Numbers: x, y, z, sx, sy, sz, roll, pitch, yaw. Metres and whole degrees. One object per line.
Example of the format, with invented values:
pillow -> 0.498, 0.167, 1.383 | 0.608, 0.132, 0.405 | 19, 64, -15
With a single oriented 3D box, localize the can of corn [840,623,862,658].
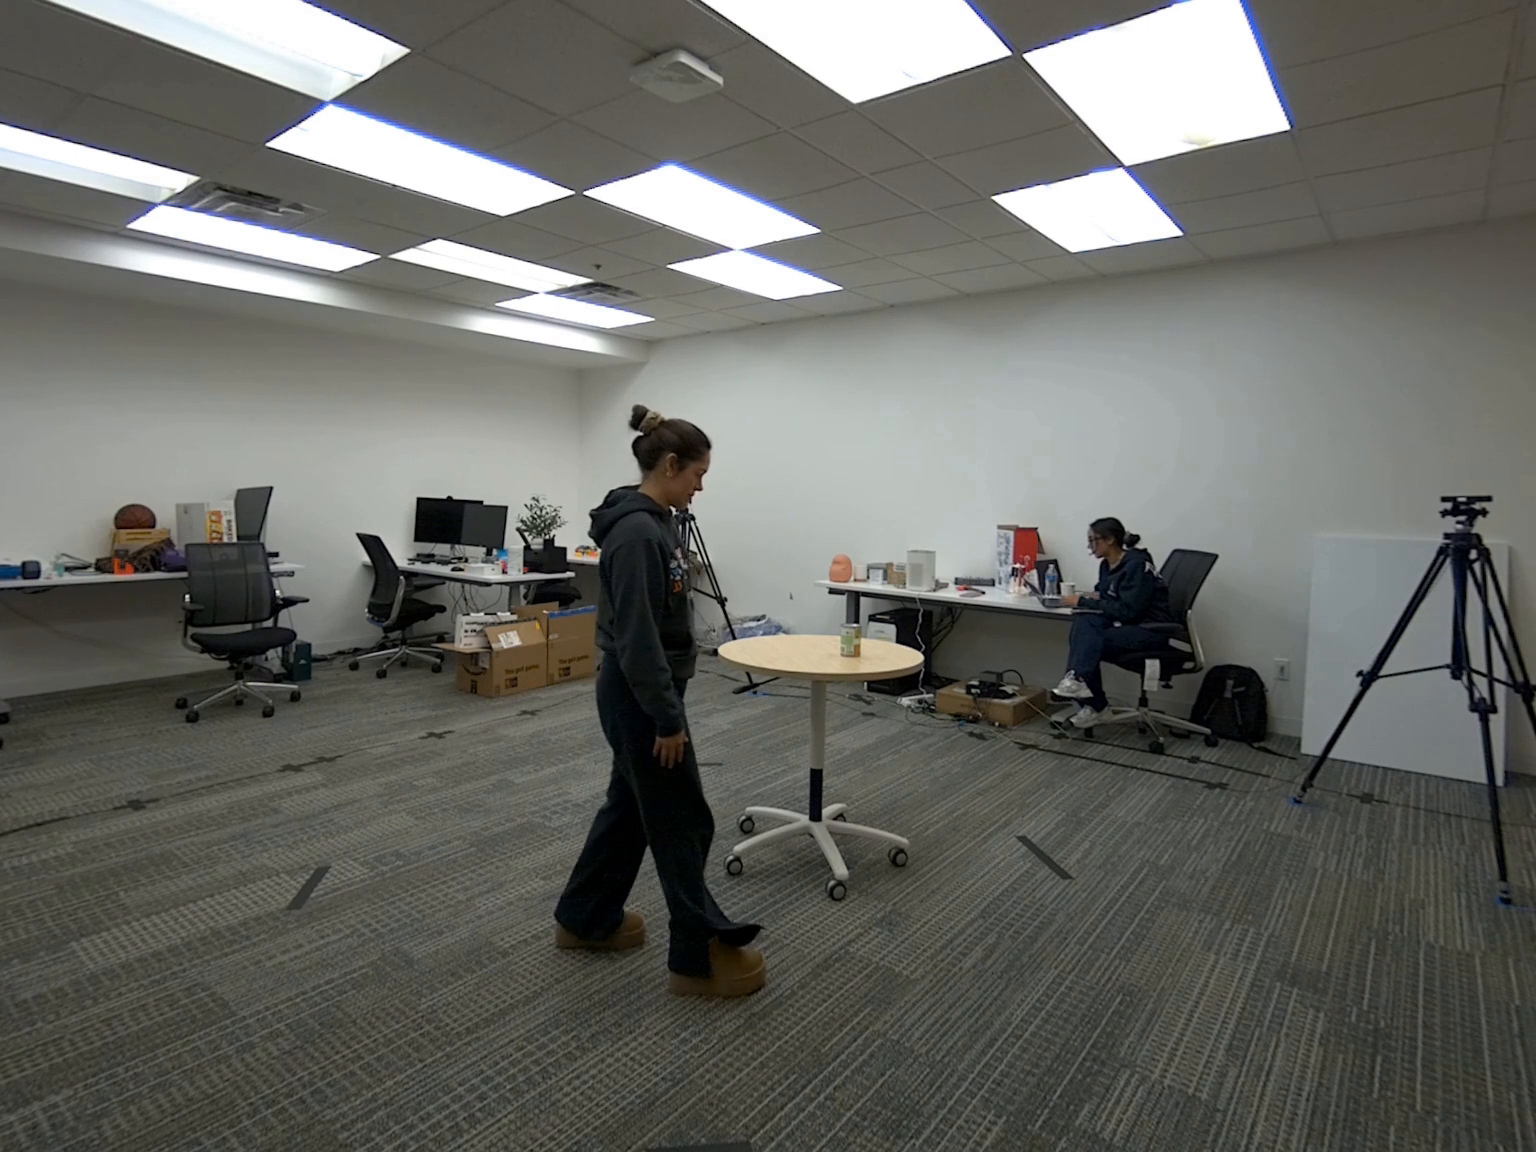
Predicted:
can of corn -> 0.306, 0.237, 3.132 | 0.074, 0.110, 0.075 | 3, 7, -2
